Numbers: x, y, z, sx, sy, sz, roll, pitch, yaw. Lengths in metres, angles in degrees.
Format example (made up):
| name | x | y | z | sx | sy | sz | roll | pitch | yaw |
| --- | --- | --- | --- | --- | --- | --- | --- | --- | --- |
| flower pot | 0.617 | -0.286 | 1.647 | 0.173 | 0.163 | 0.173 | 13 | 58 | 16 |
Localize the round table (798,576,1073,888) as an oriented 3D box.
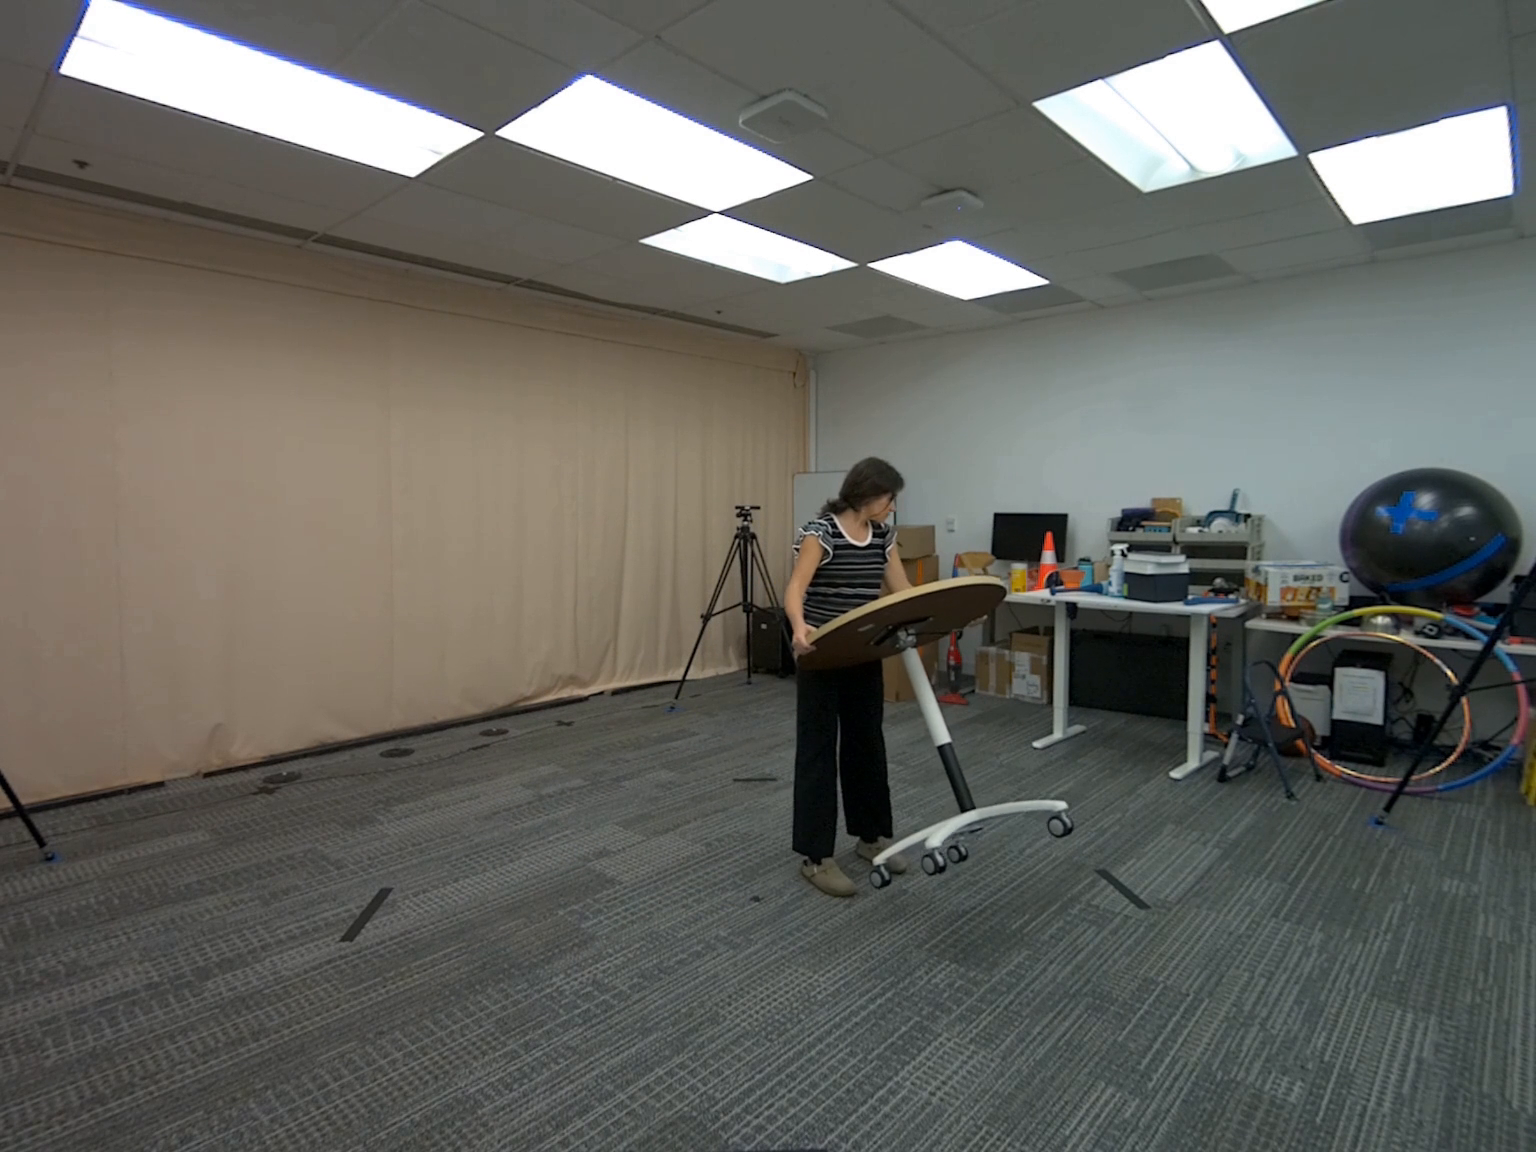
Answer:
| name | x | y | z | sx | sy | sz | roll | pitch | yaw |
| --- | --- | --- | --- | --- | --- | --- | --- | --- | --- |
| round table | 0.574 | 0.531 | 2.810 | 0.759 | 0.808 | 0.755 | -14 | -20 | -7 |
